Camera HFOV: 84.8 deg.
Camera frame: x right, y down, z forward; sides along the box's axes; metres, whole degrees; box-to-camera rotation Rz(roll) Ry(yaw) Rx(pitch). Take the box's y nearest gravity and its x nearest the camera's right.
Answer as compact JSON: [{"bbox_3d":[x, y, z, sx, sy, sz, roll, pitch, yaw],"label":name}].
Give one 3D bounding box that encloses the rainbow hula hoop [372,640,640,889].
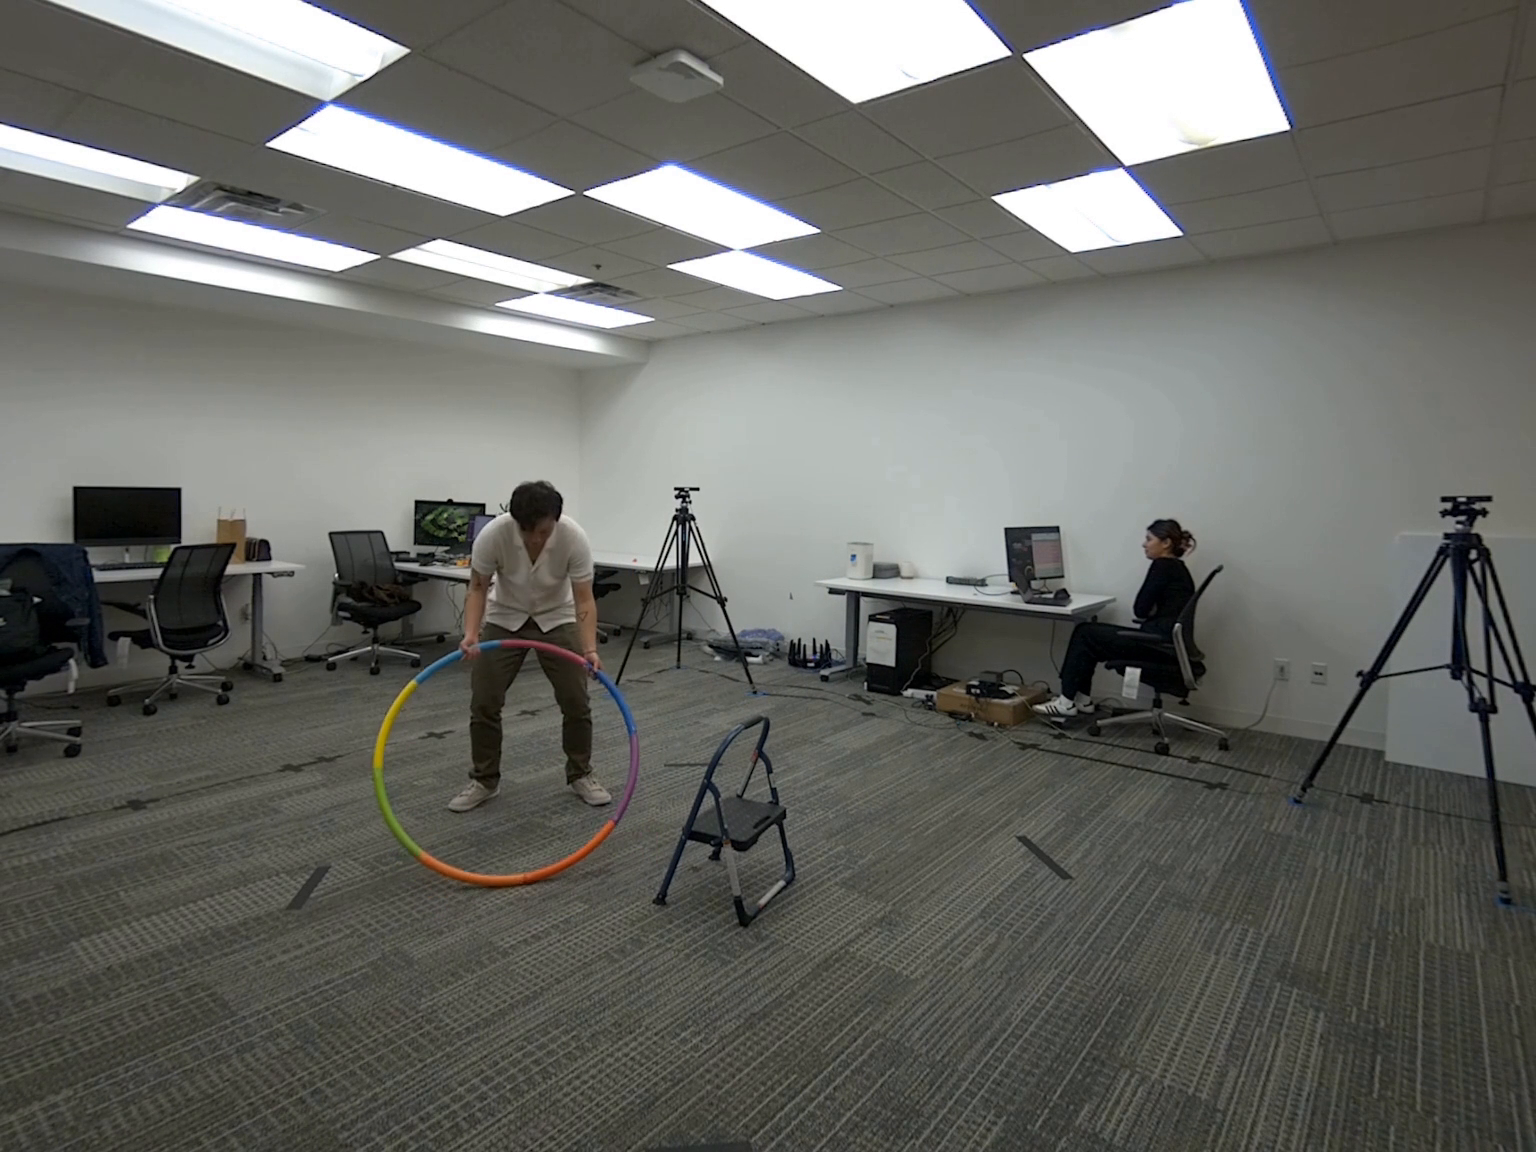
[{"bbox_3d":[-0.984,0.663,3.235,0.964,1.012,0.035,-1,-38,-15],"label":"rainbow hula hoop"}]
